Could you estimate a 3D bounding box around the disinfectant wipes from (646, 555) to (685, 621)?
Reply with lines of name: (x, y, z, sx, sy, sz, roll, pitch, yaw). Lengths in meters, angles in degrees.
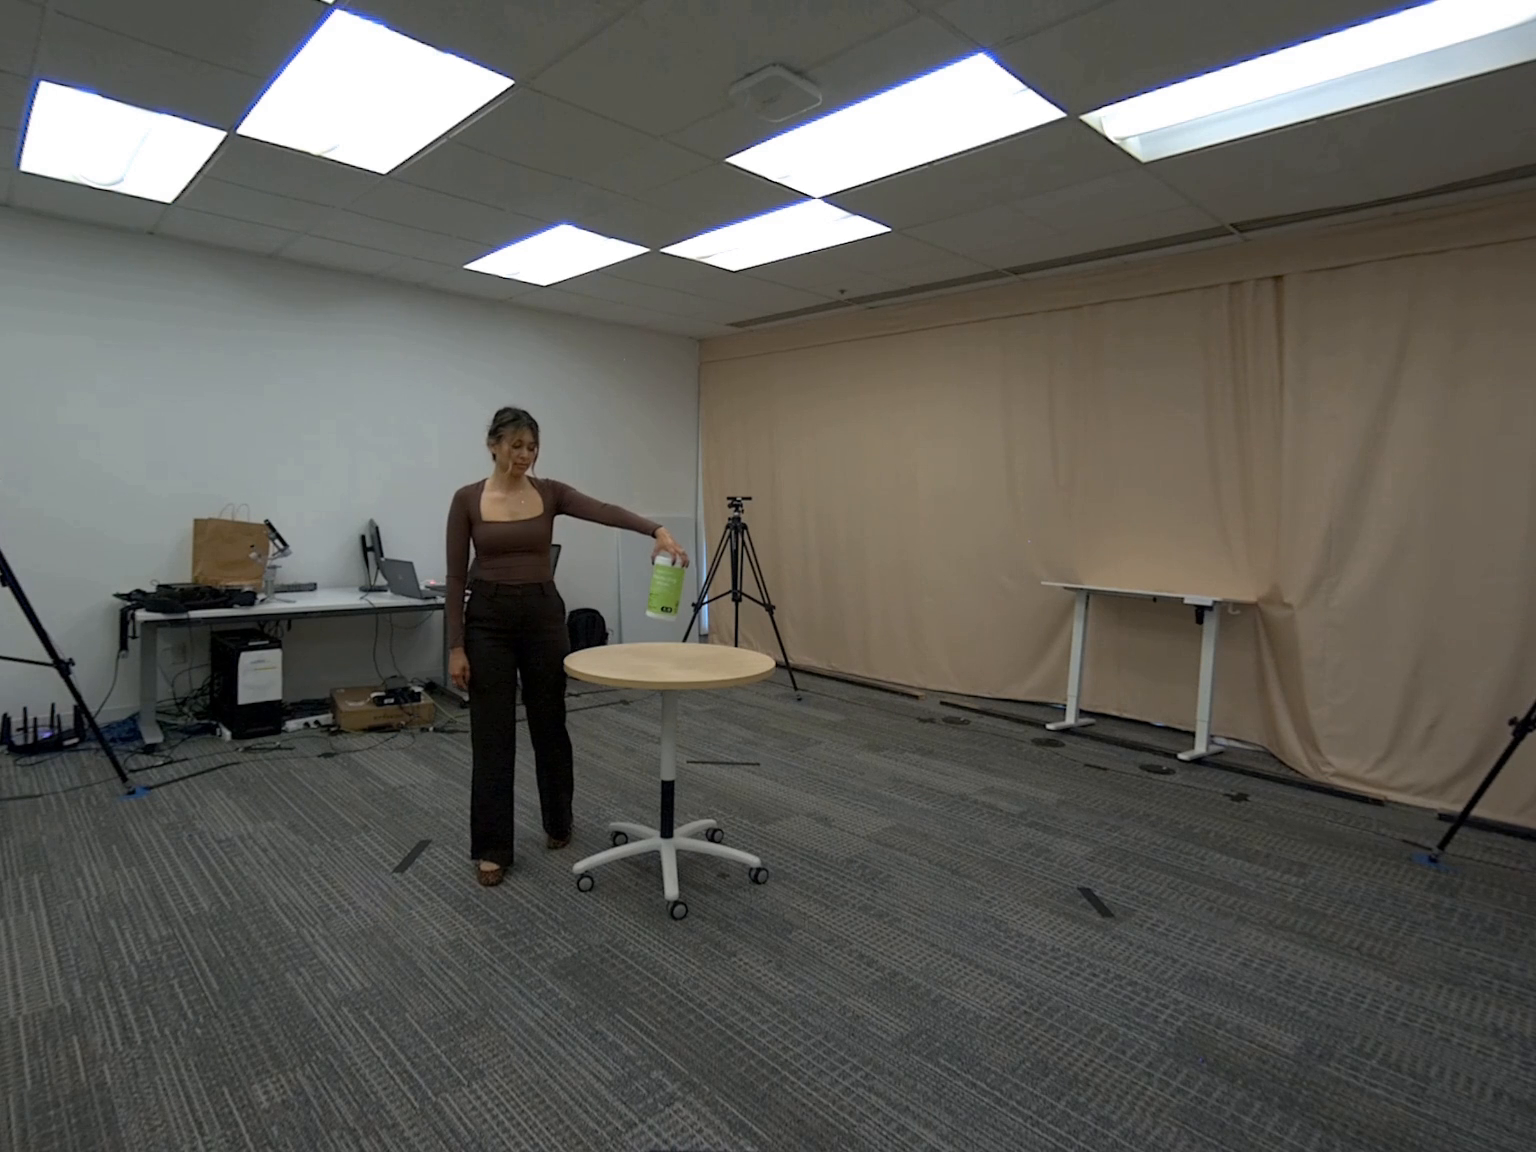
disinfectant wipes: (-0.365, 0.044, 2.933, 0.117, 0.217, 0.118, 9, 5, -2)
